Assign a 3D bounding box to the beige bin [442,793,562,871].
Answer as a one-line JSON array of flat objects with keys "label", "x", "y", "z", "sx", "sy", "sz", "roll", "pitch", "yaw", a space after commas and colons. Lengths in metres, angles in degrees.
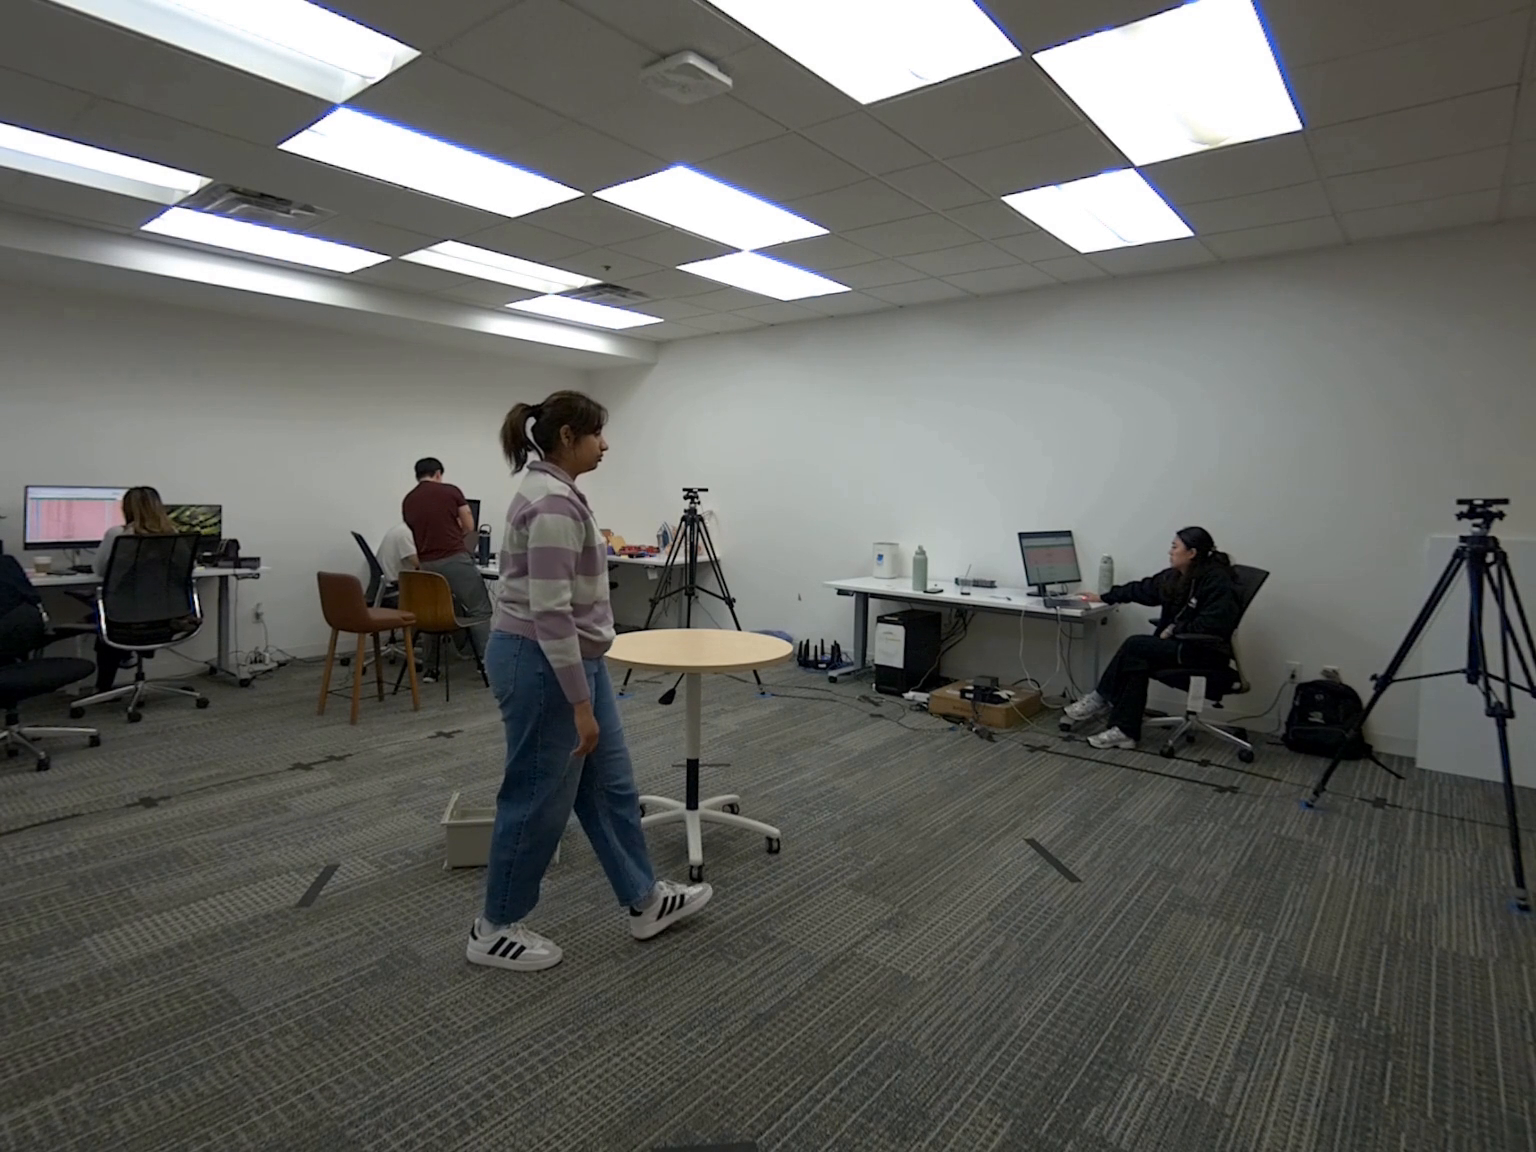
[{"label": "beige bin", "x": -1.018, "y": 0.949, "z": 3.261, "sx": 0.418, "sy": 0.188, "sz": 0.383, "roll": 0, "pitch": 6, "yaw": -10}]
